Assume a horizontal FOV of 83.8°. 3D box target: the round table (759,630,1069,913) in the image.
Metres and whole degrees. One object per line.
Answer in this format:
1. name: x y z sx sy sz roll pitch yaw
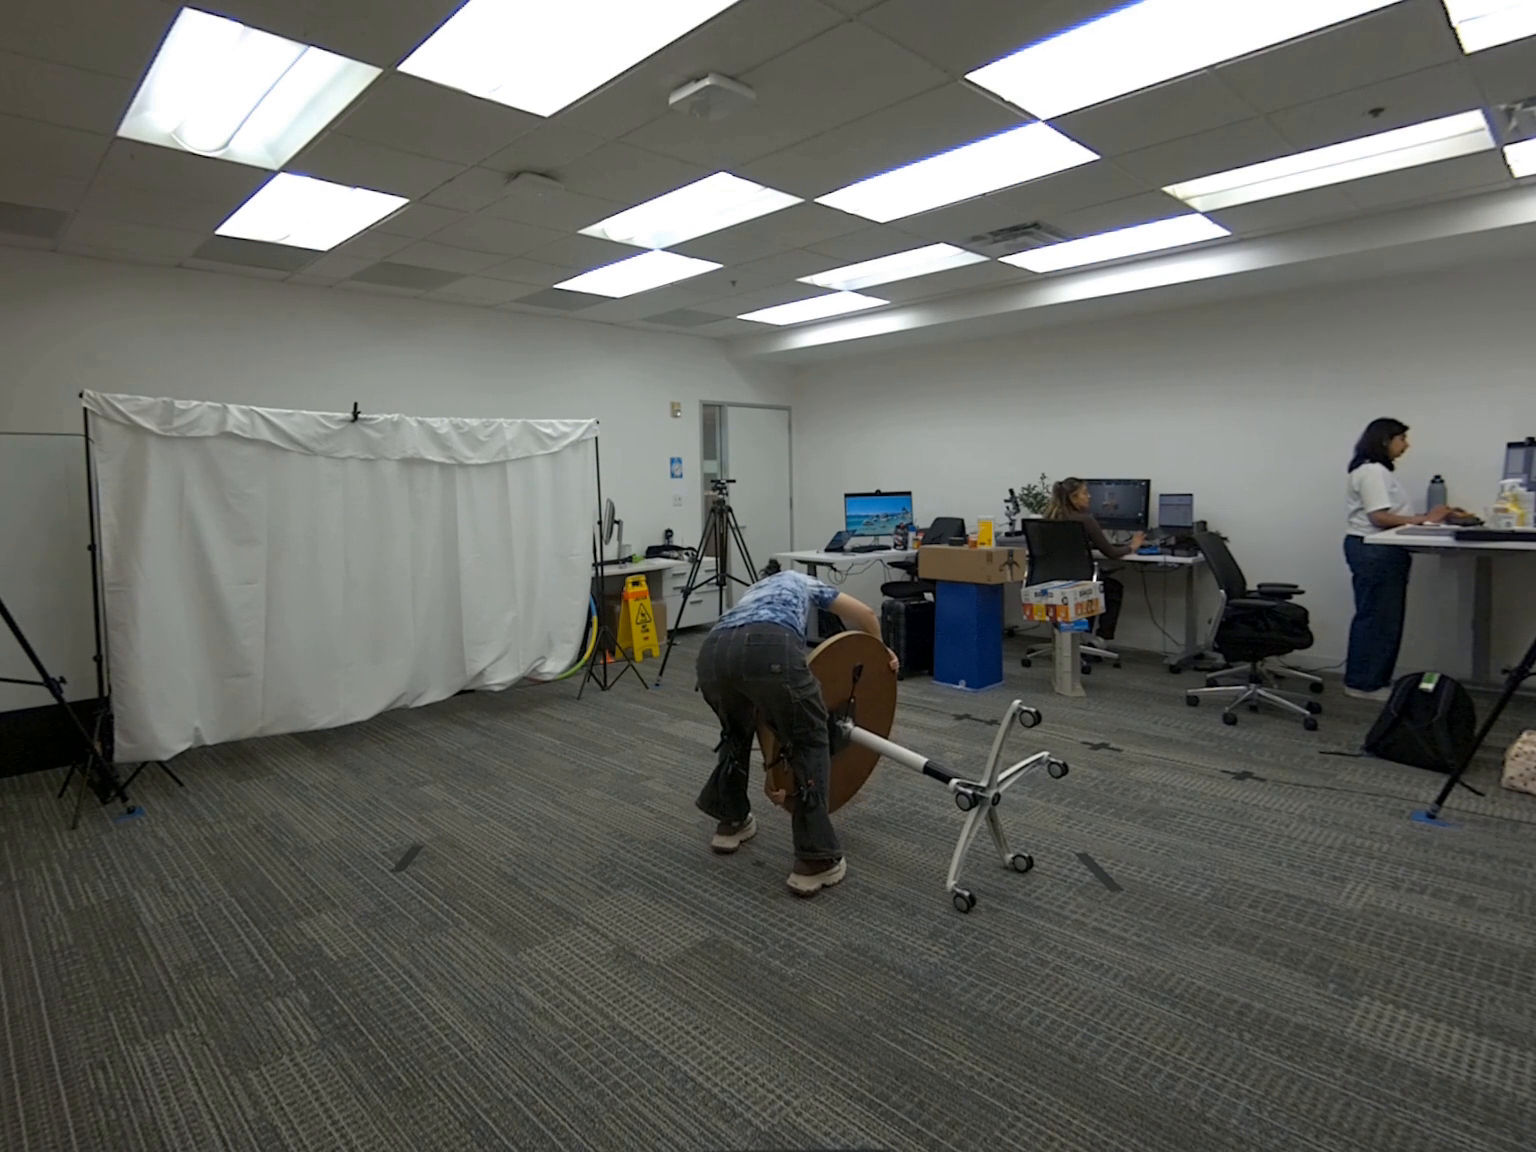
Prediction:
1. round table: 0.547 0.675 3.108 0.744 0.757 0.822 -5 15 -44
